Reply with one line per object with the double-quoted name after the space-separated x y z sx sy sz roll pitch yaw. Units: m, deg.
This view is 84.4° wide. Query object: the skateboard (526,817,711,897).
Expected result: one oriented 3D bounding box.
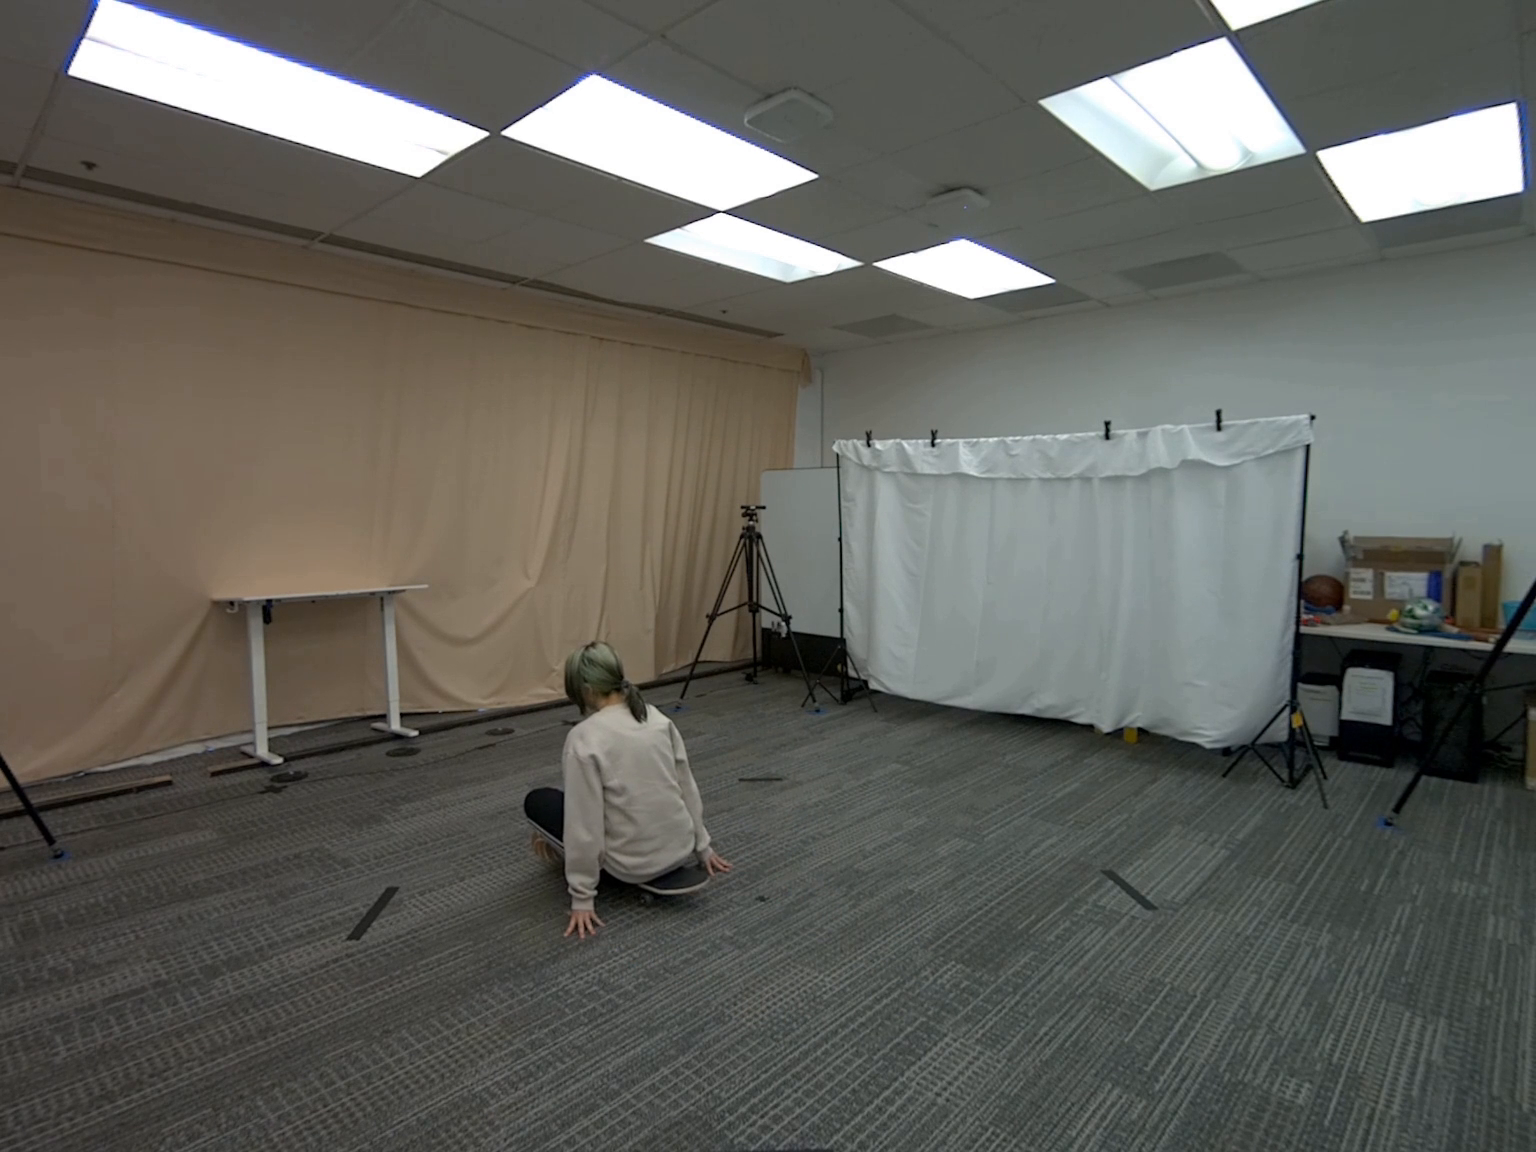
-0.560 1.091 3.111 0.810 0.110 0.188 4 7 34 "skateboard"
